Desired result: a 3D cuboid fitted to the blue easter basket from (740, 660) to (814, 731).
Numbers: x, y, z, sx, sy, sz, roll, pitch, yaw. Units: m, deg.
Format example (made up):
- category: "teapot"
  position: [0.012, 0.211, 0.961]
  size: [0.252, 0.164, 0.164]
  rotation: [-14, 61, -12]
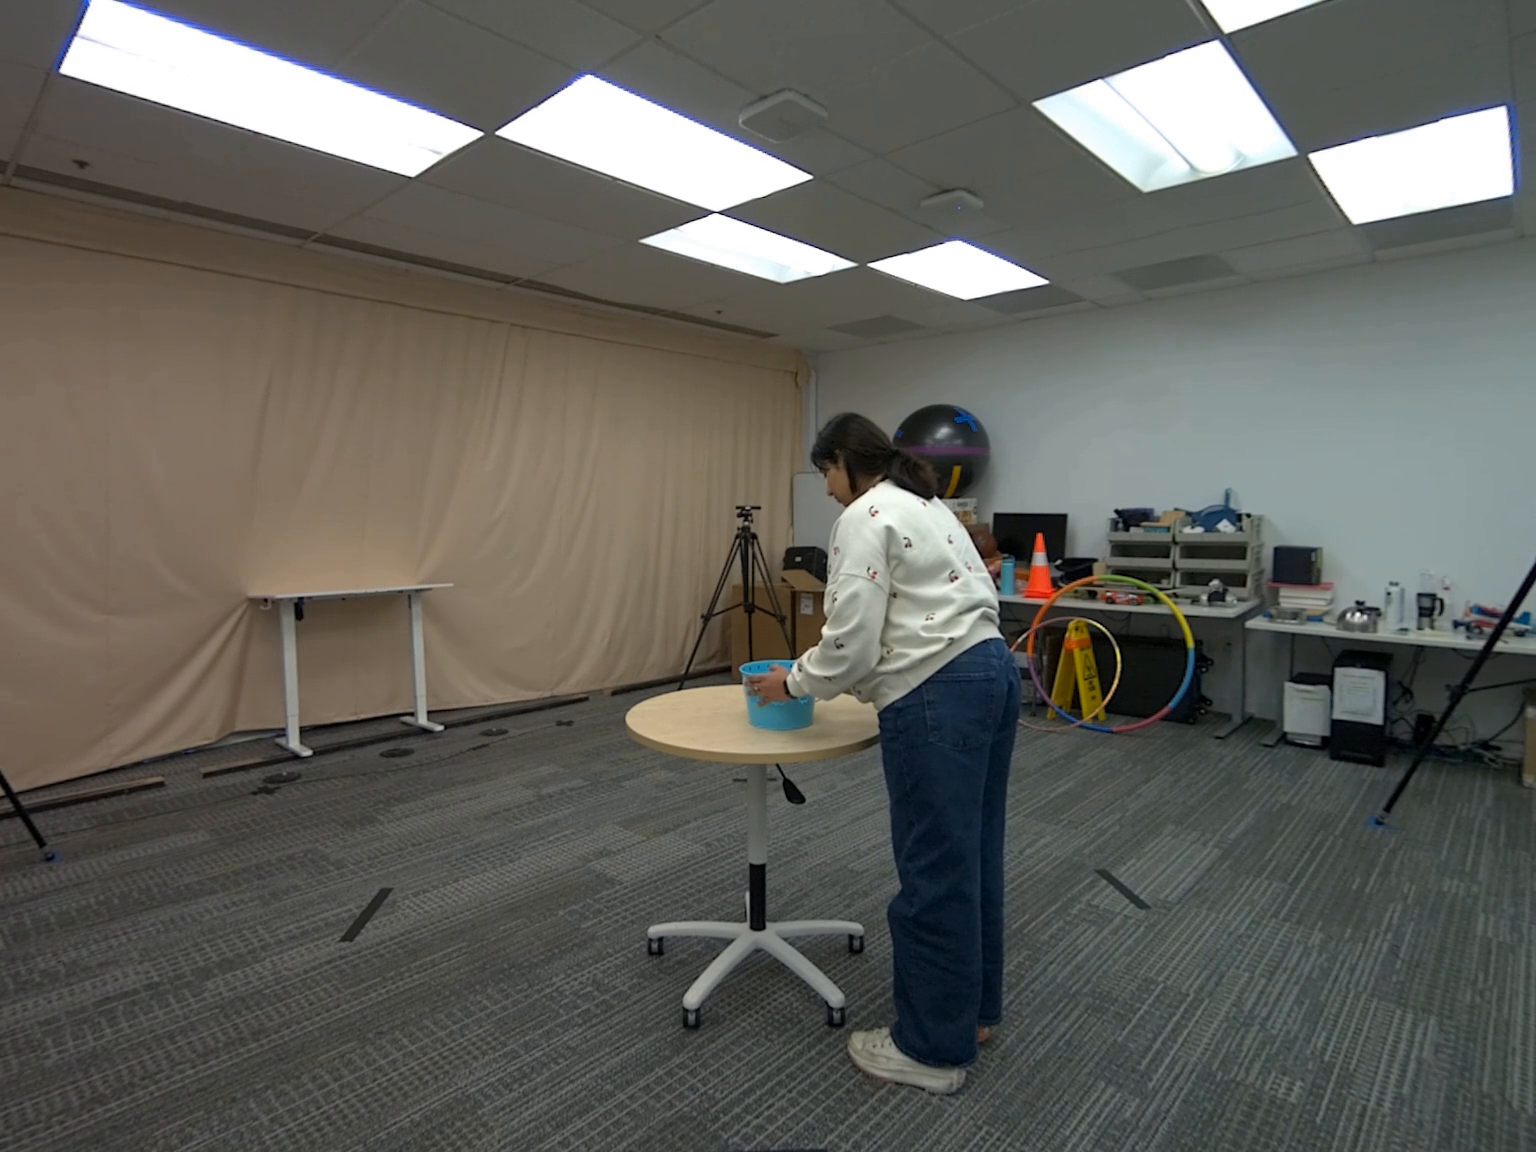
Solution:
- category: "blue easter basket"
  position: [0.050, 0.342, 2.373]
  size: [0.243, 0.155, 0.245]
  rotation: [-1, 6, -2]
